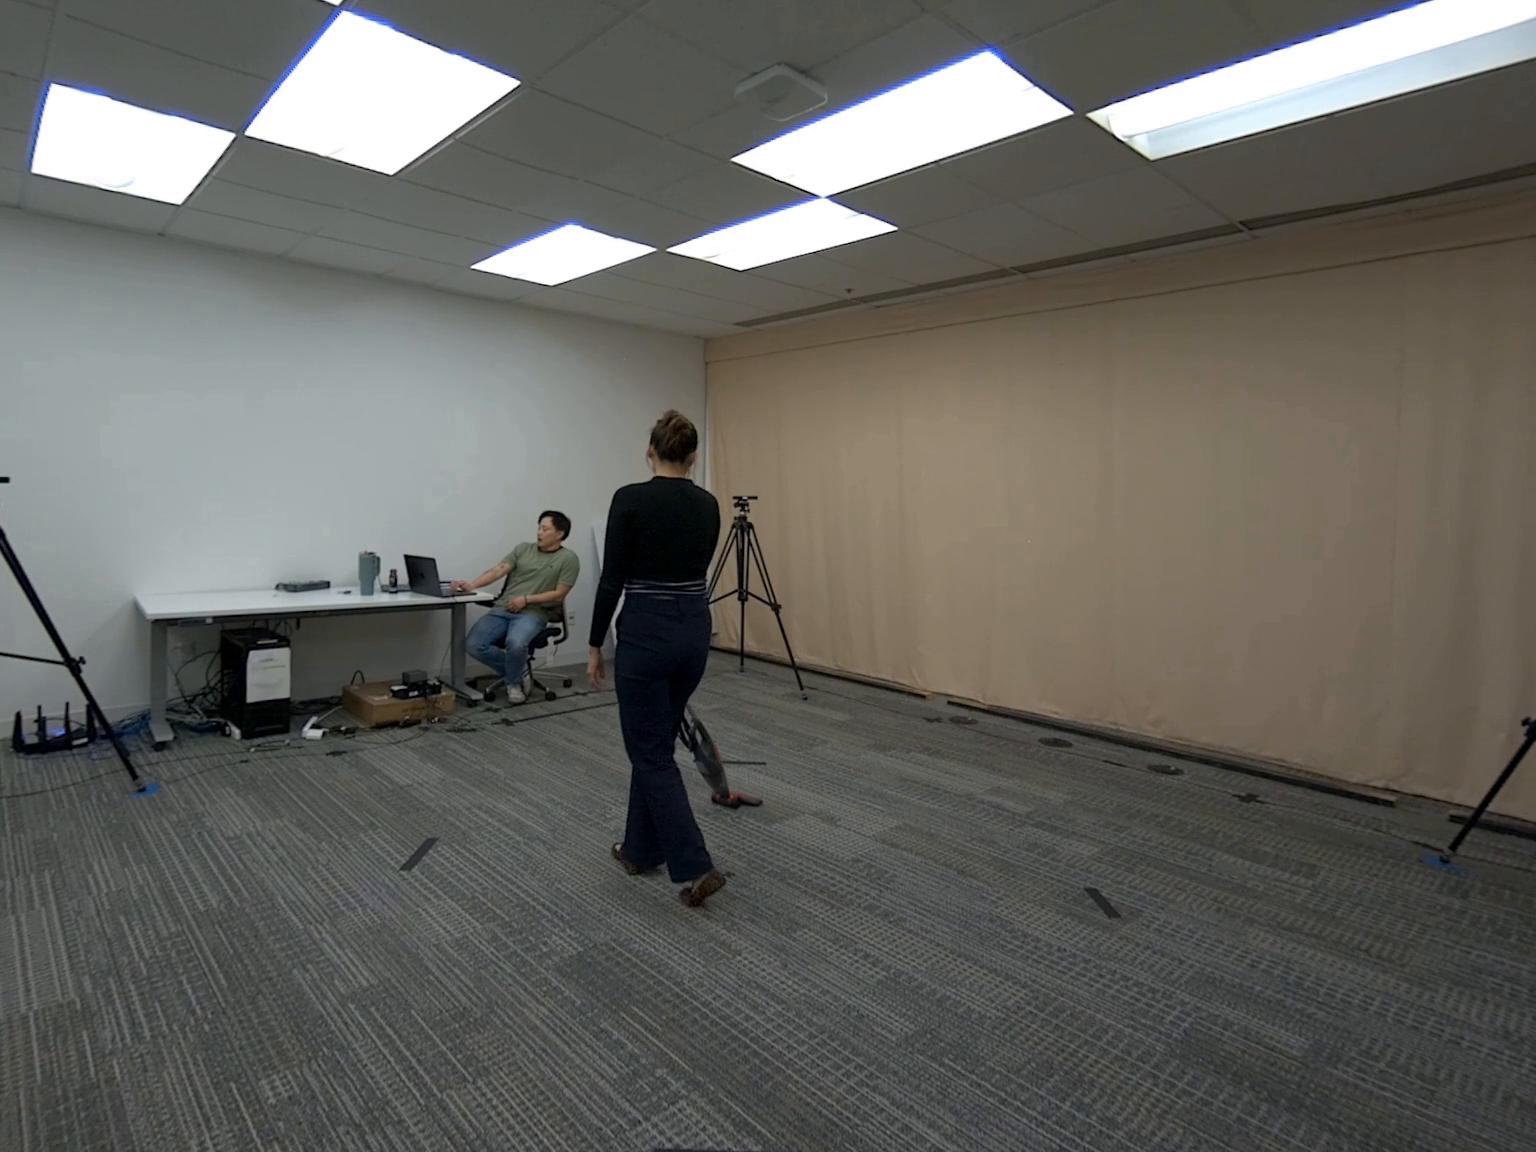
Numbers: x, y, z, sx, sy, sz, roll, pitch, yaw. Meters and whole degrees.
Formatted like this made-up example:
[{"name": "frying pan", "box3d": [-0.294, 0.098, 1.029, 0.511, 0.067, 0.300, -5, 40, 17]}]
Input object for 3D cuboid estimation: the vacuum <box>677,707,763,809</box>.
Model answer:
[{"name": "vacuum", "box3d": [-0.325, 0.649, 3.567, 0.258, 1.020, 0.145, 2, 42, 29]}]
